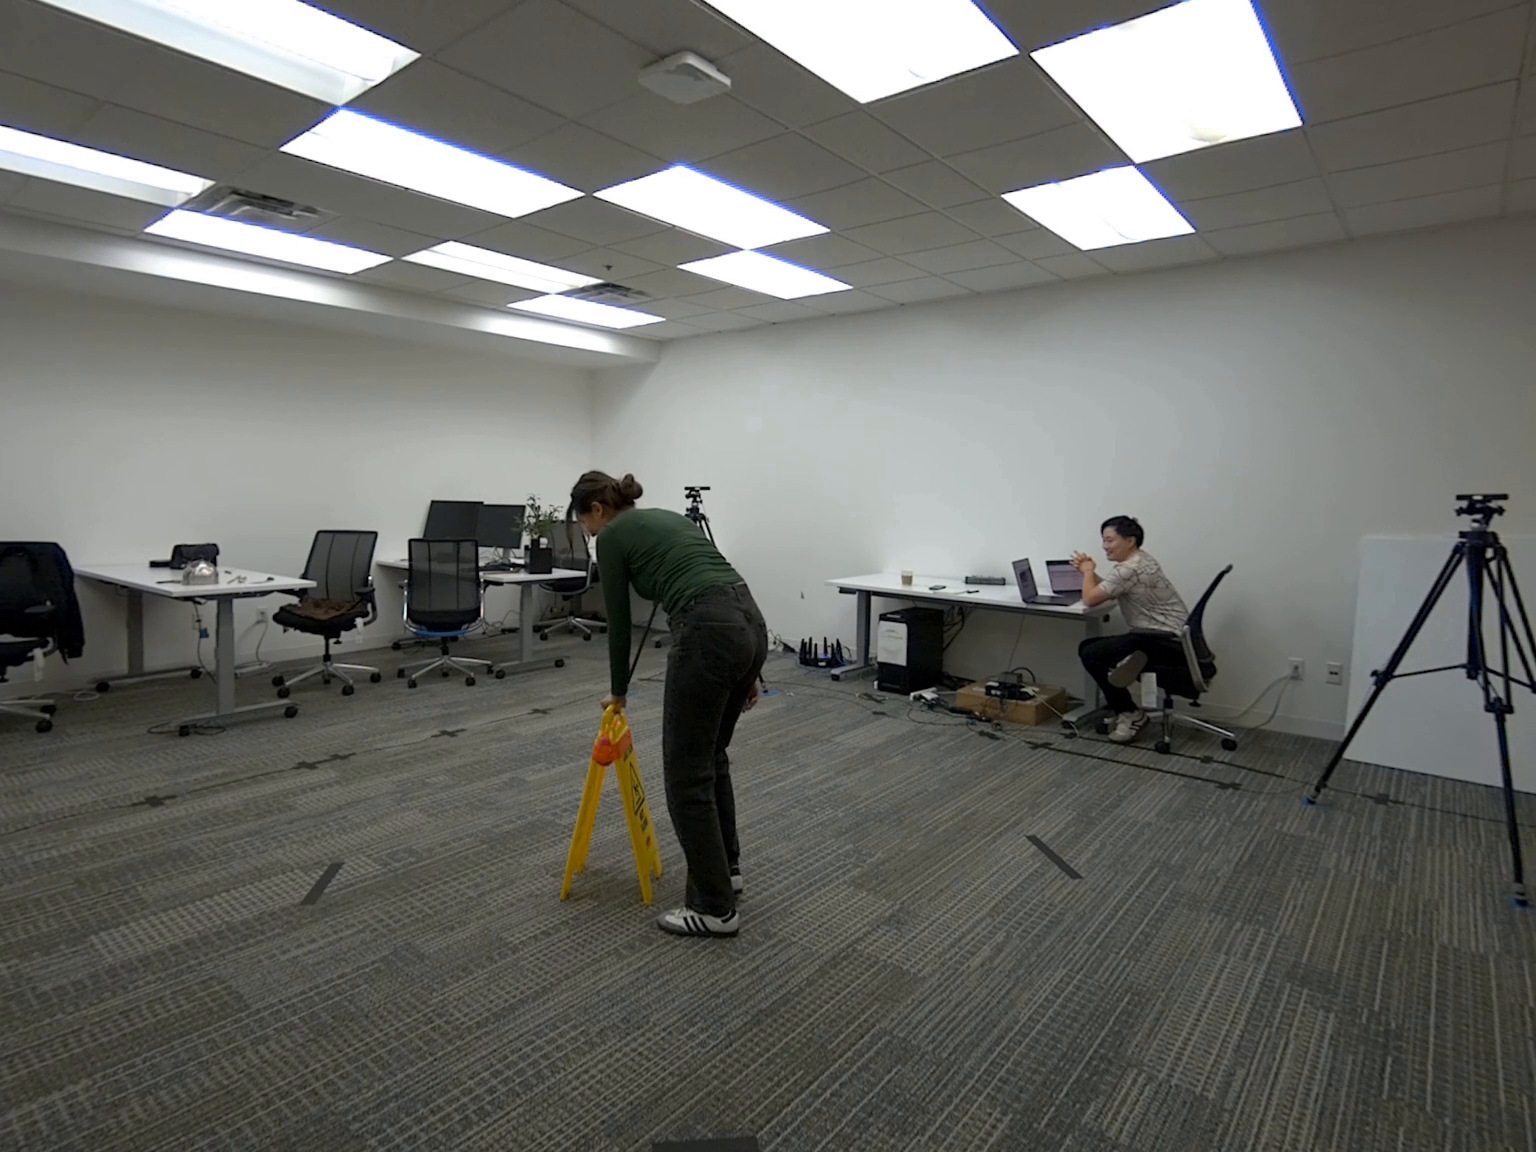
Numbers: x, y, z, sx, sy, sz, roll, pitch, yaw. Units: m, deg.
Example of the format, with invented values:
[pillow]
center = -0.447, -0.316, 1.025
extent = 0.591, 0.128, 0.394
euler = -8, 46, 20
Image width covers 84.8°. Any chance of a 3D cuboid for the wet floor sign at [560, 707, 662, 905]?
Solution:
[wet floor sign]
center = -0.545, 0.752, 2.946
extent = 0.291, 0.644, 0.282
euler = 1, 3, 3
